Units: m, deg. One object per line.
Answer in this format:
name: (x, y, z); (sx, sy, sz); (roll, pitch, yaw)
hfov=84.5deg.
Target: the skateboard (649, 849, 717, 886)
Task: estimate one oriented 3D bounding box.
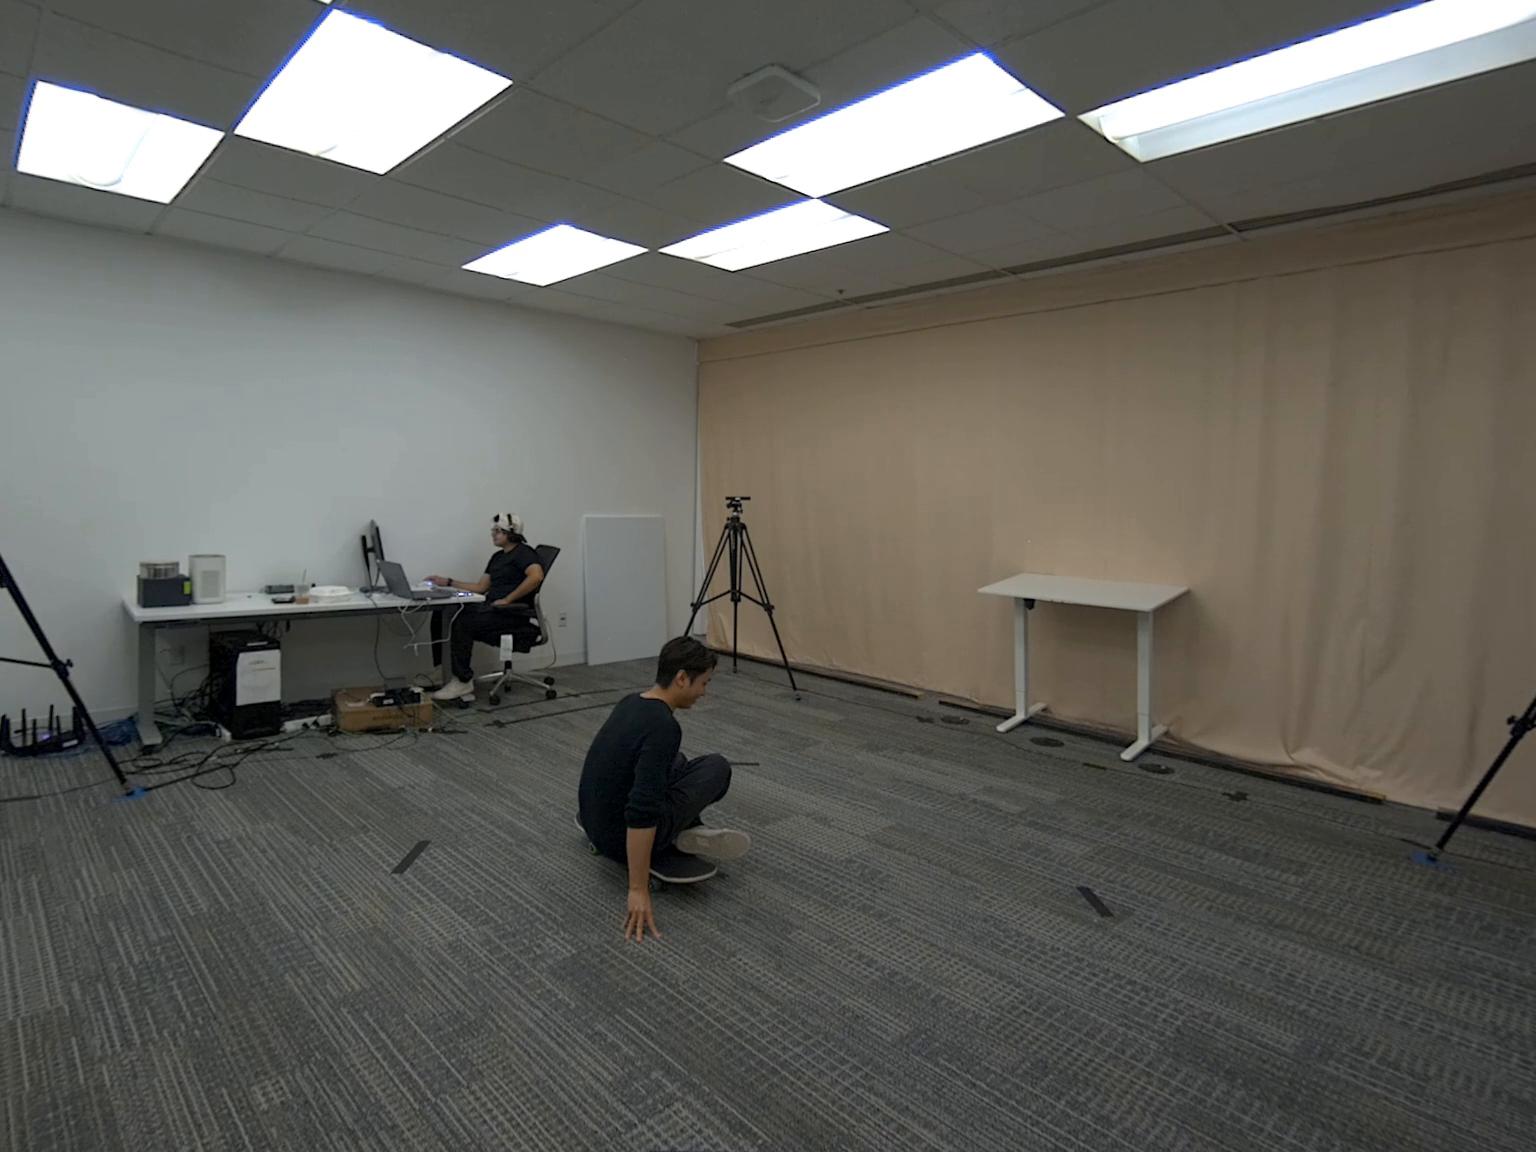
skateboard: (-0.467, 1.047, 3.180); (0.806, 0.110, 0.189); (6, 7, 44)
